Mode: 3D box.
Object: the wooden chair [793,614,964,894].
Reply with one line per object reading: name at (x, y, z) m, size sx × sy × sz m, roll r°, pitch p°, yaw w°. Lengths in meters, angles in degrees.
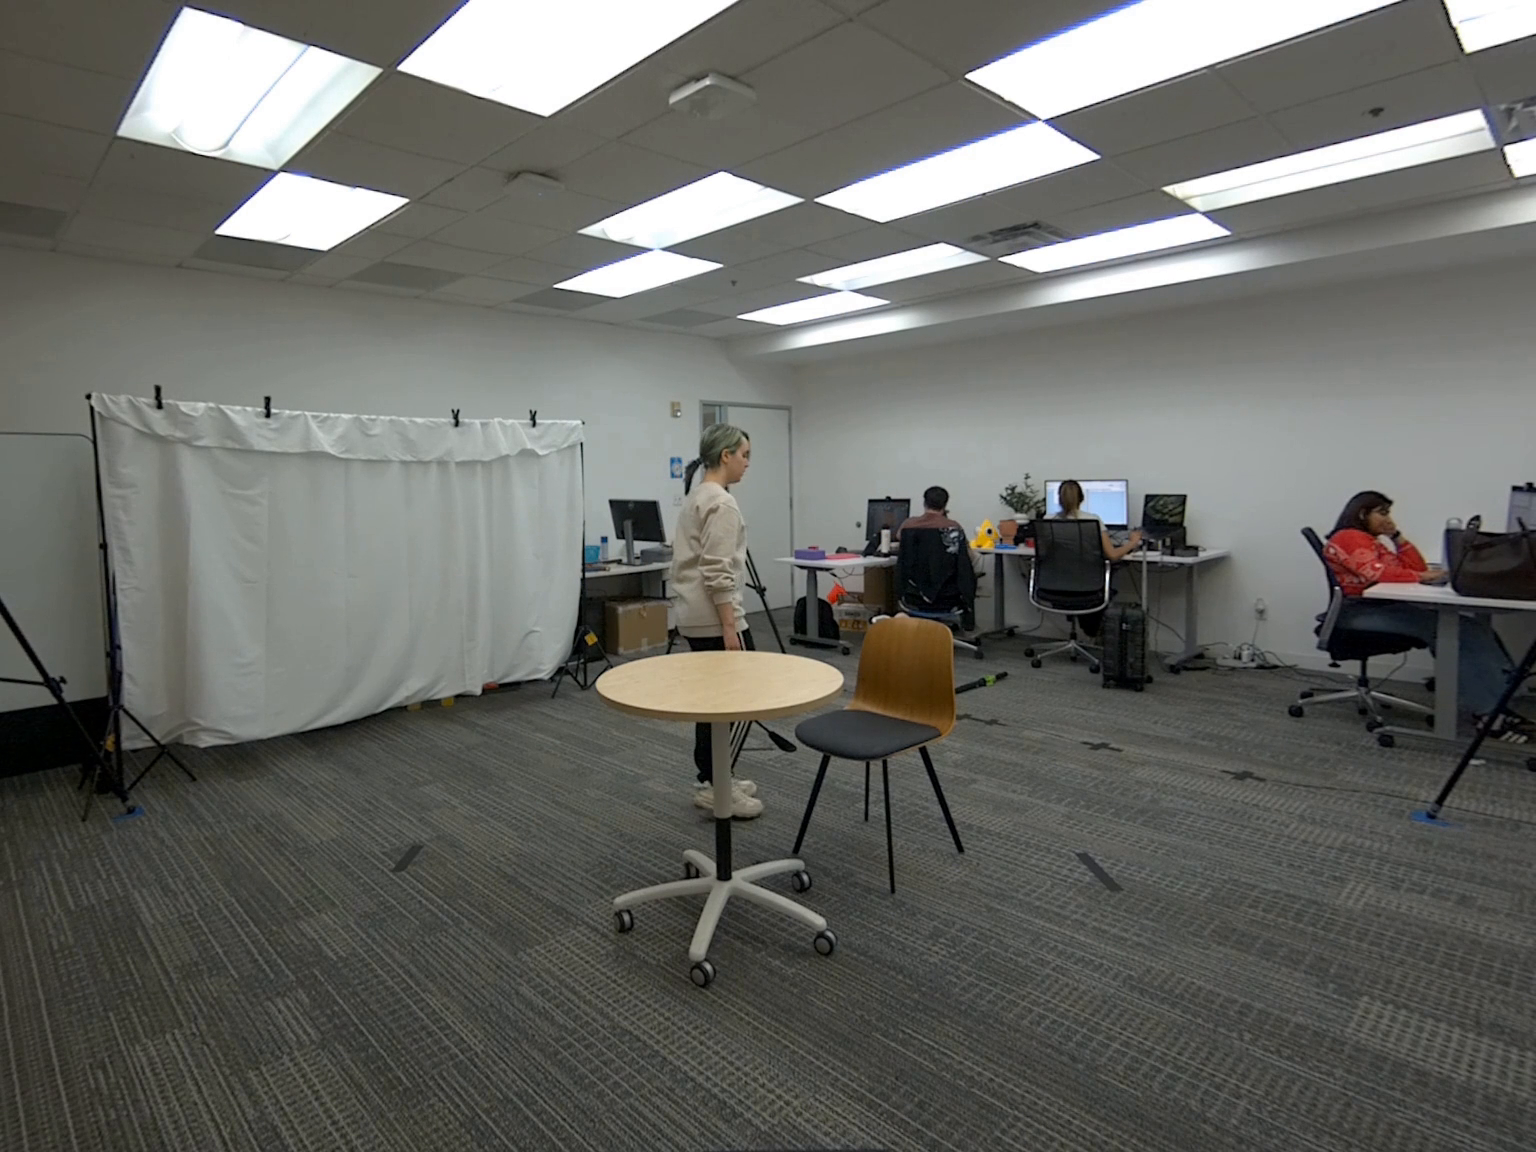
wooden chair at (0.397, 0.606, 3.137) m, size 0.493 × 0.877 × 0.508 m, roll 3°, pitch 2°, yaw 45°
